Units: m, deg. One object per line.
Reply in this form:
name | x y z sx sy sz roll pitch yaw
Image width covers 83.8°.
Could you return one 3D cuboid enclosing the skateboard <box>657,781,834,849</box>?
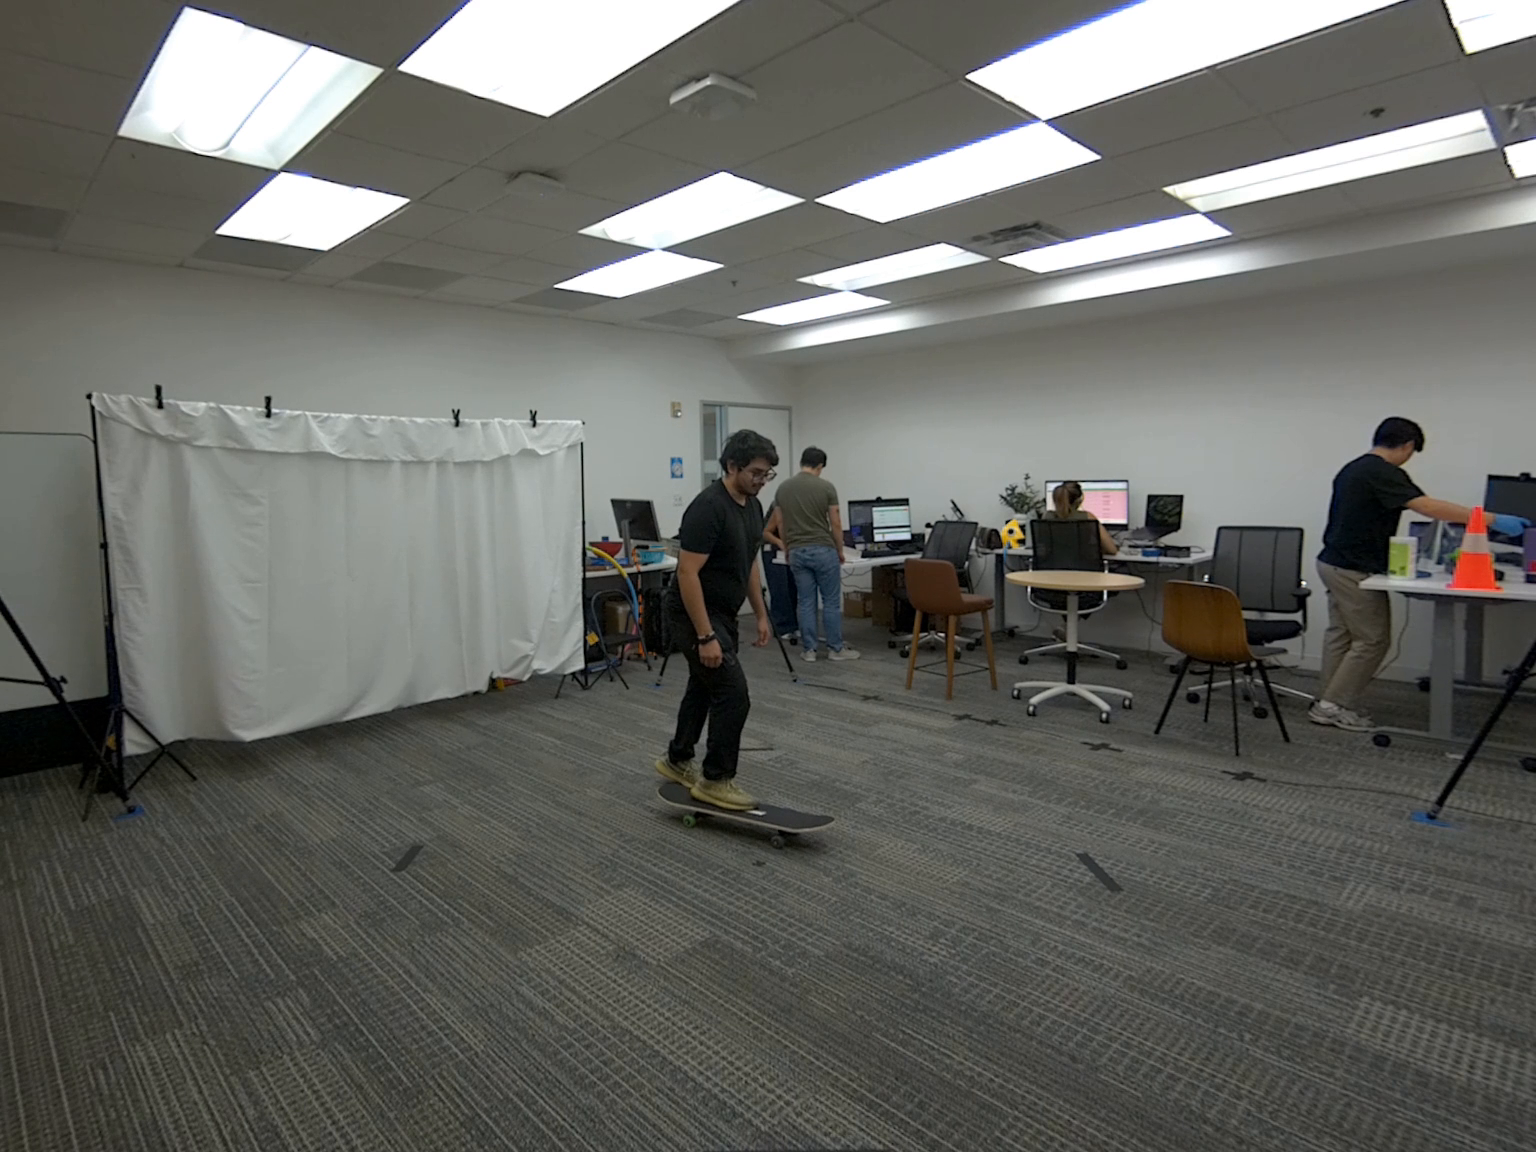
skateboard | -0.101 0.964 3.417 0.806 0.110 0.189 3 4 30
